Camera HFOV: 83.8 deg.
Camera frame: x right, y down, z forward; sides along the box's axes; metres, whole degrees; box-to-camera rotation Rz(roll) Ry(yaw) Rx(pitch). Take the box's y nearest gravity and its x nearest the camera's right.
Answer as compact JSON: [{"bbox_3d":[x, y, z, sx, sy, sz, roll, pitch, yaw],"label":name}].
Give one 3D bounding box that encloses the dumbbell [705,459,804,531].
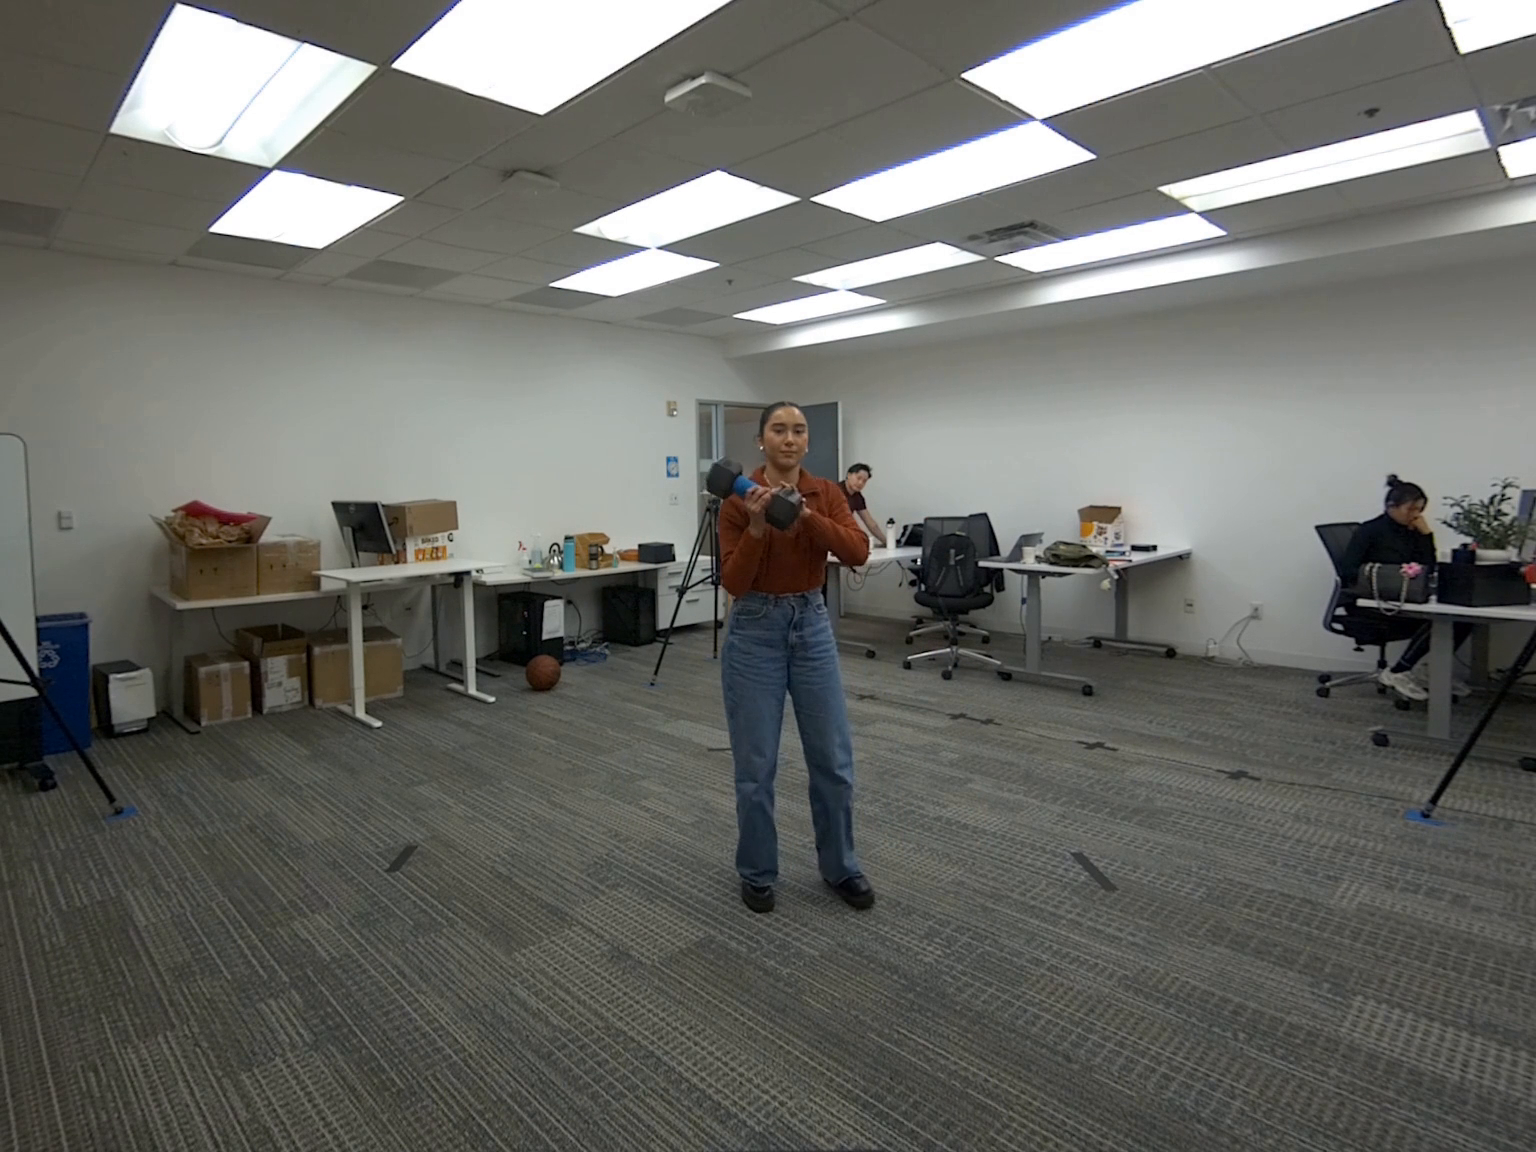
[{"bbox_3d":[-0.042,-0.260,2.601,0.299,0.109,0.120,29,-27,15],"label":"dumbbell"}]
